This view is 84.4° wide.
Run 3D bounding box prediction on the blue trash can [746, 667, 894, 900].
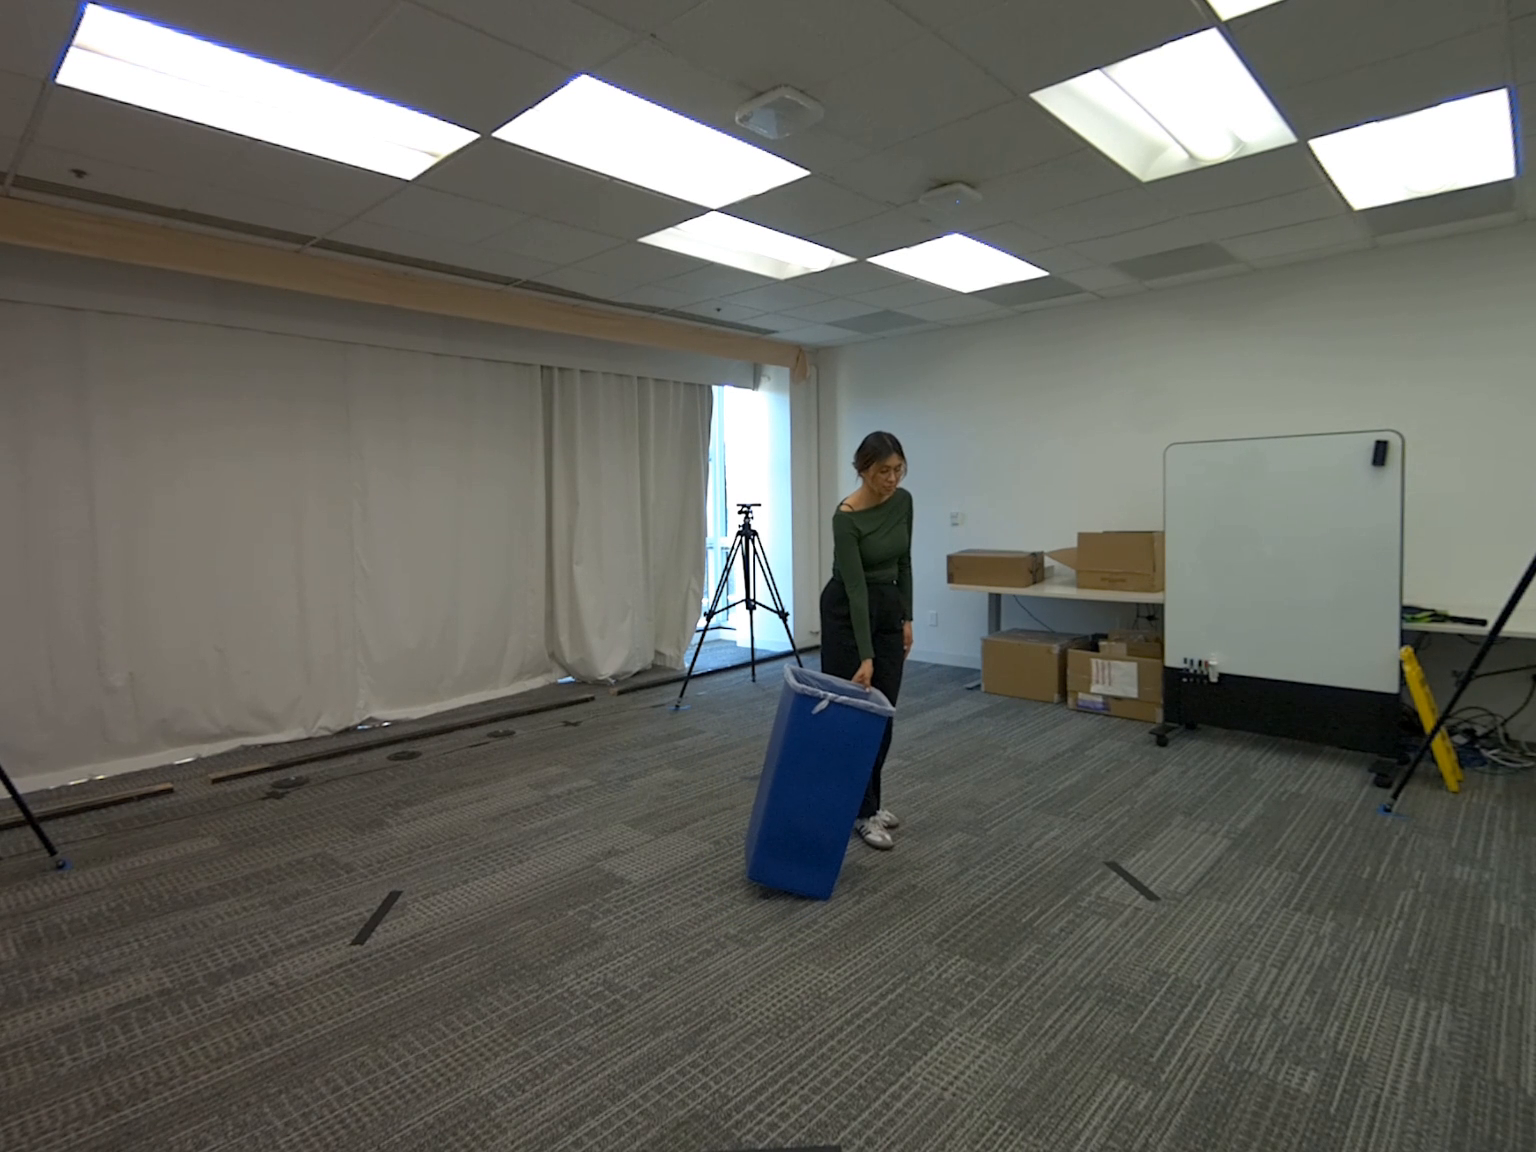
[{"bbox_3d":[0.155,0.744,3.061,0.372,0.713,0.380,16,3,-5],"label":"blue trash can"}]
